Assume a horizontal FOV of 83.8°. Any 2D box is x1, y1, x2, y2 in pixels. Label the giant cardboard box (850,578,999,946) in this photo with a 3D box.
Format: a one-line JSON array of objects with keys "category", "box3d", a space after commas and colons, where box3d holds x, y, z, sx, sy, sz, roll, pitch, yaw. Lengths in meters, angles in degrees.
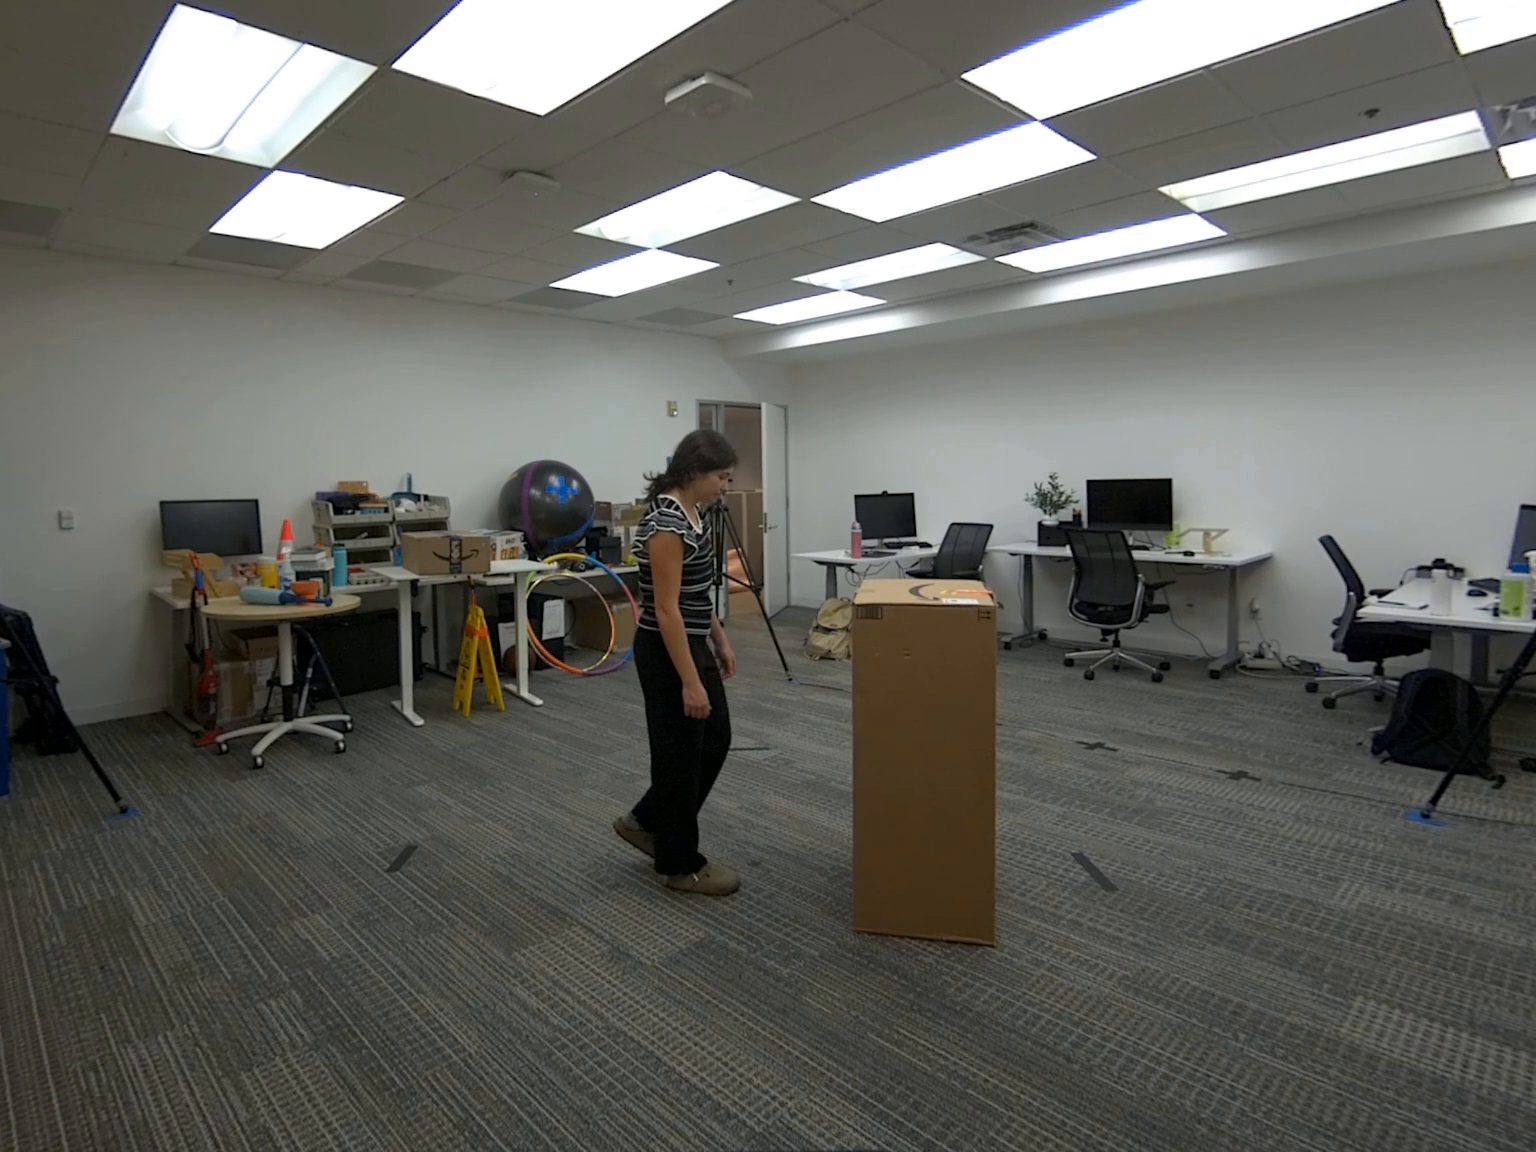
[{"category": "giant cardboard box", "box3d": [0.509, 0.557, 2.823, 0.431, 1.022, 0.573, -1, 4, 10]}]
